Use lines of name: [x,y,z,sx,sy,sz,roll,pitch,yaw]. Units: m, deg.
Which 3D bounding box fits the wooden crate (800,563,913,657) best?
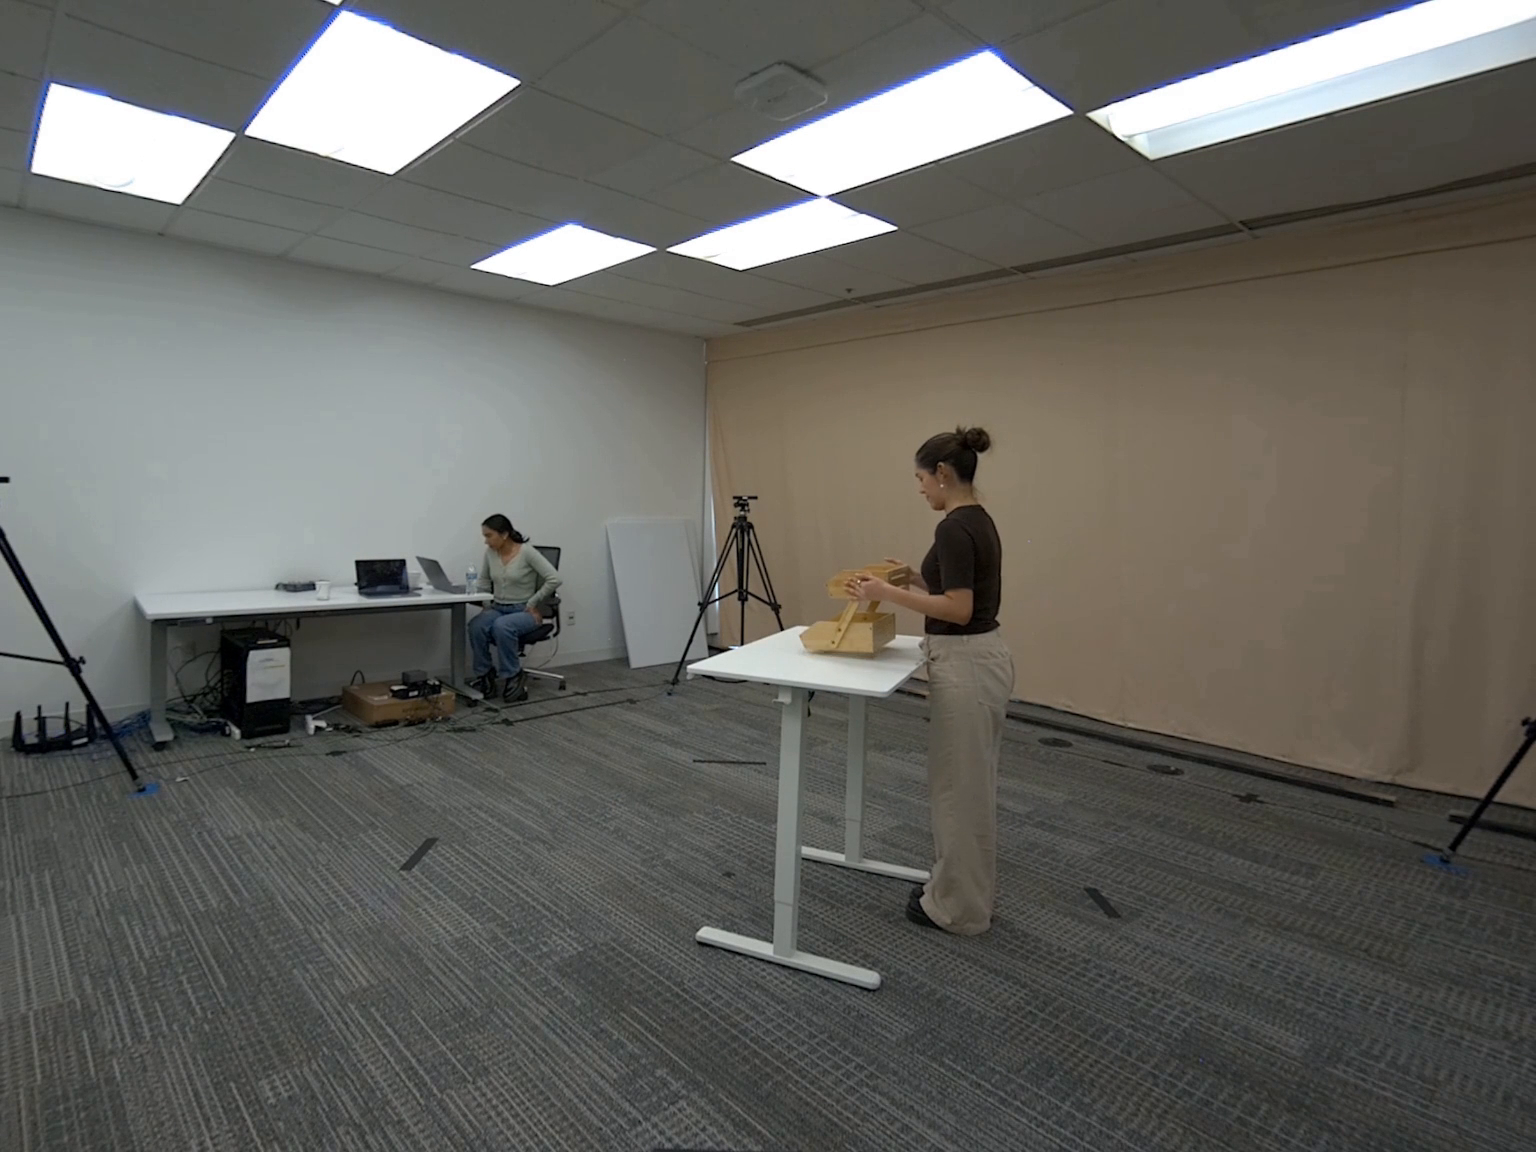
wooden crate: [0.290,0.098,2.845,0.307,0.273,0.319,1,4,23]
